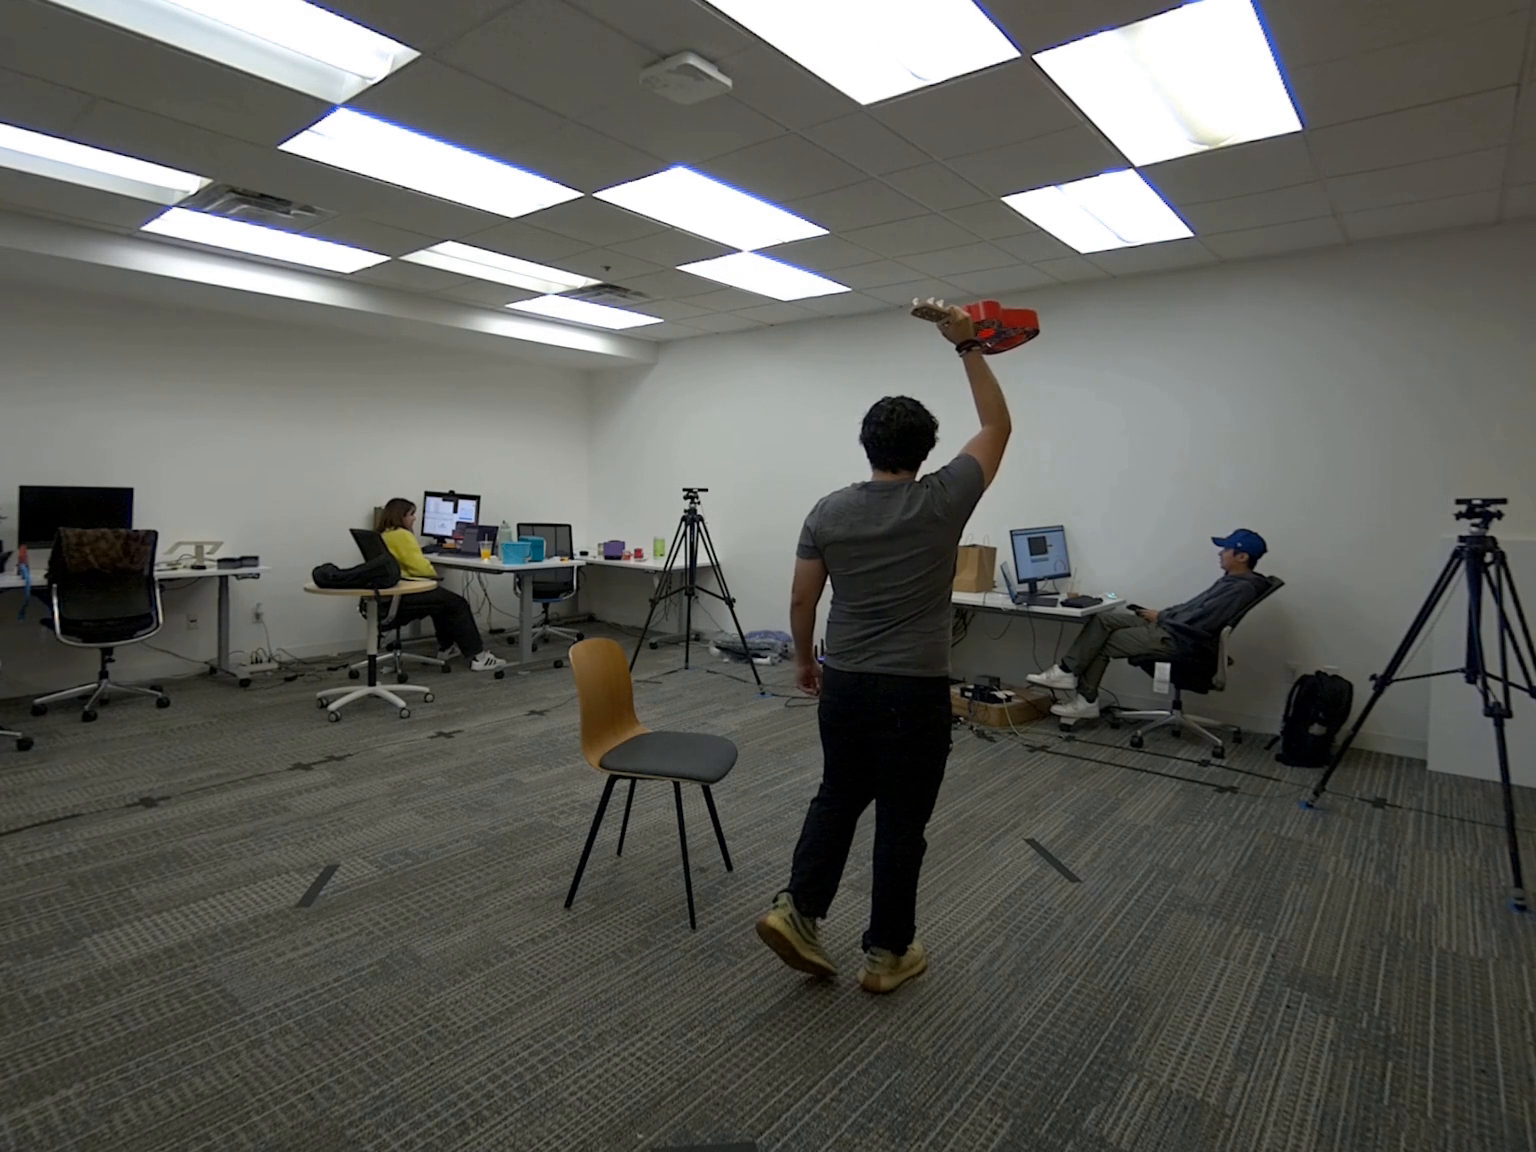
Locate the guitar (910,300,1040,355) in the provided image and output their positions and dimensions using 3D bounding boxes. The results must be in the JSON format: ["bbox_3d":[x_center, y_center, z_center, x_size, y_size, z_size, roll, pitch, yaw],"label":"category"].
[{"bbox_3d":[0.598,-0.746,2.430,0.197,0.071,0.480,-14,-14,40],"label":"guitar"}]
